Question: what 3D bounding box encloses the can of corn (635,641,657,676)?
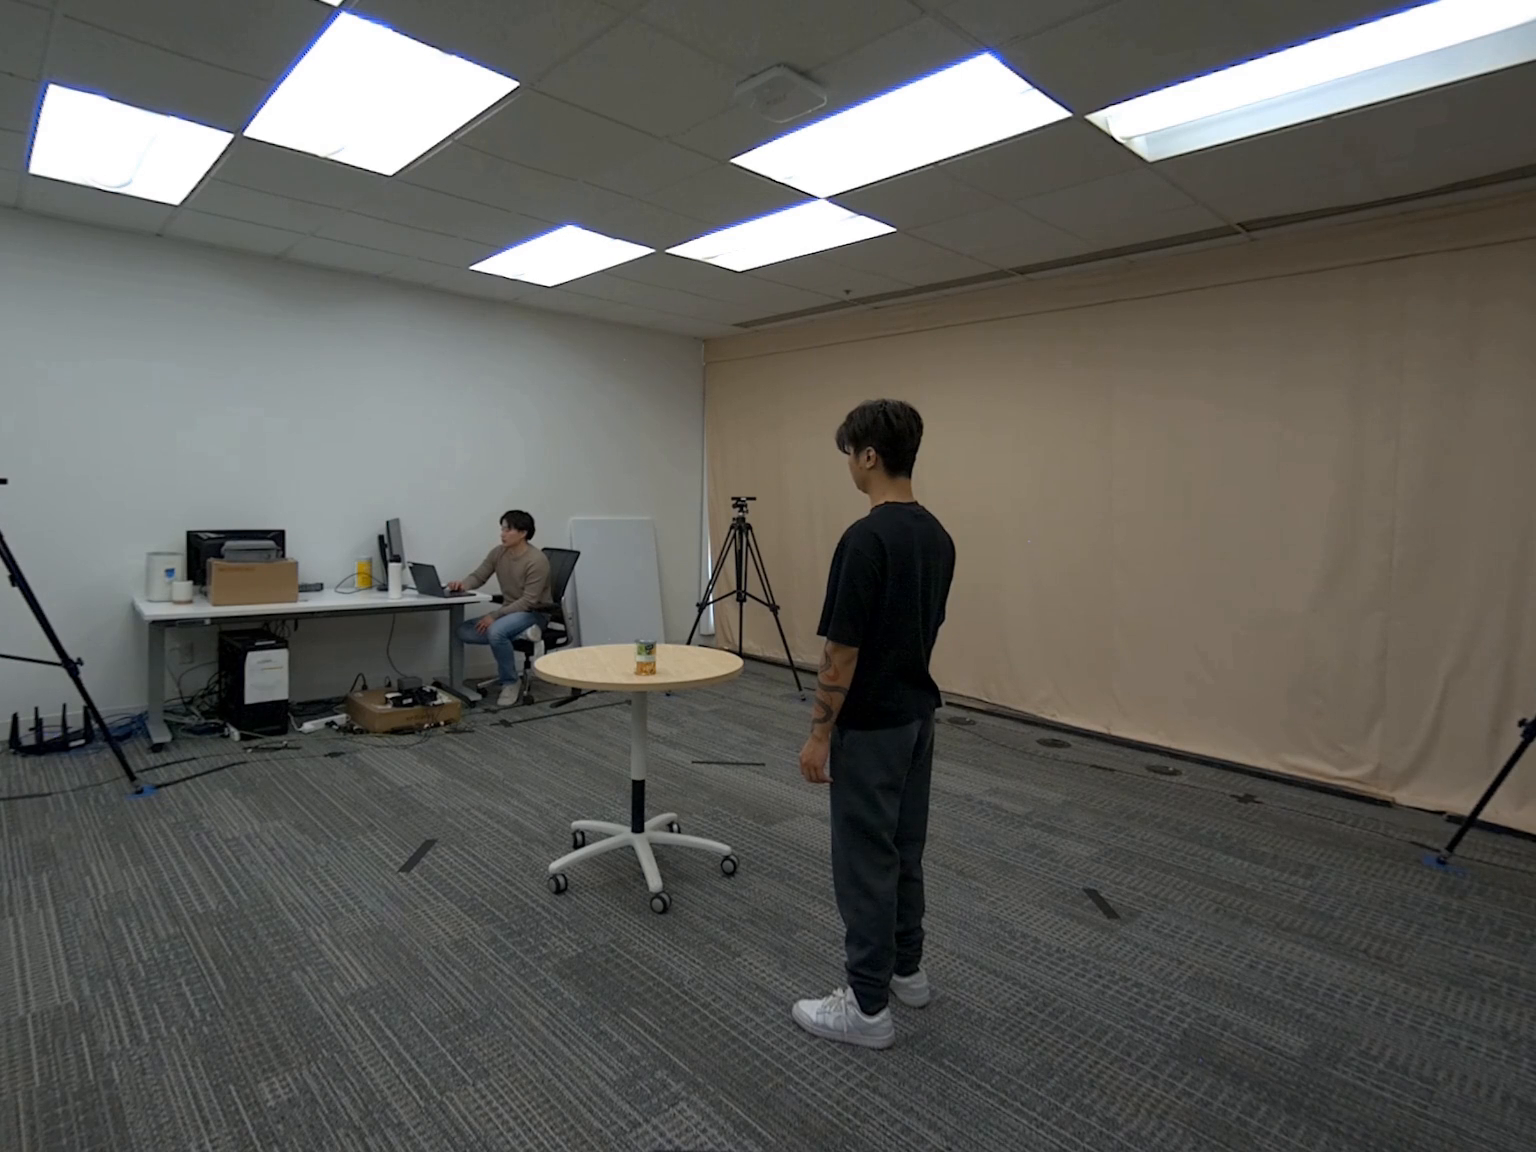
[{"bbox_3d":[-0.430,0.281,2.890,0.074,0.111,0.074,1,3,-1],"label":"can of corn"}]
